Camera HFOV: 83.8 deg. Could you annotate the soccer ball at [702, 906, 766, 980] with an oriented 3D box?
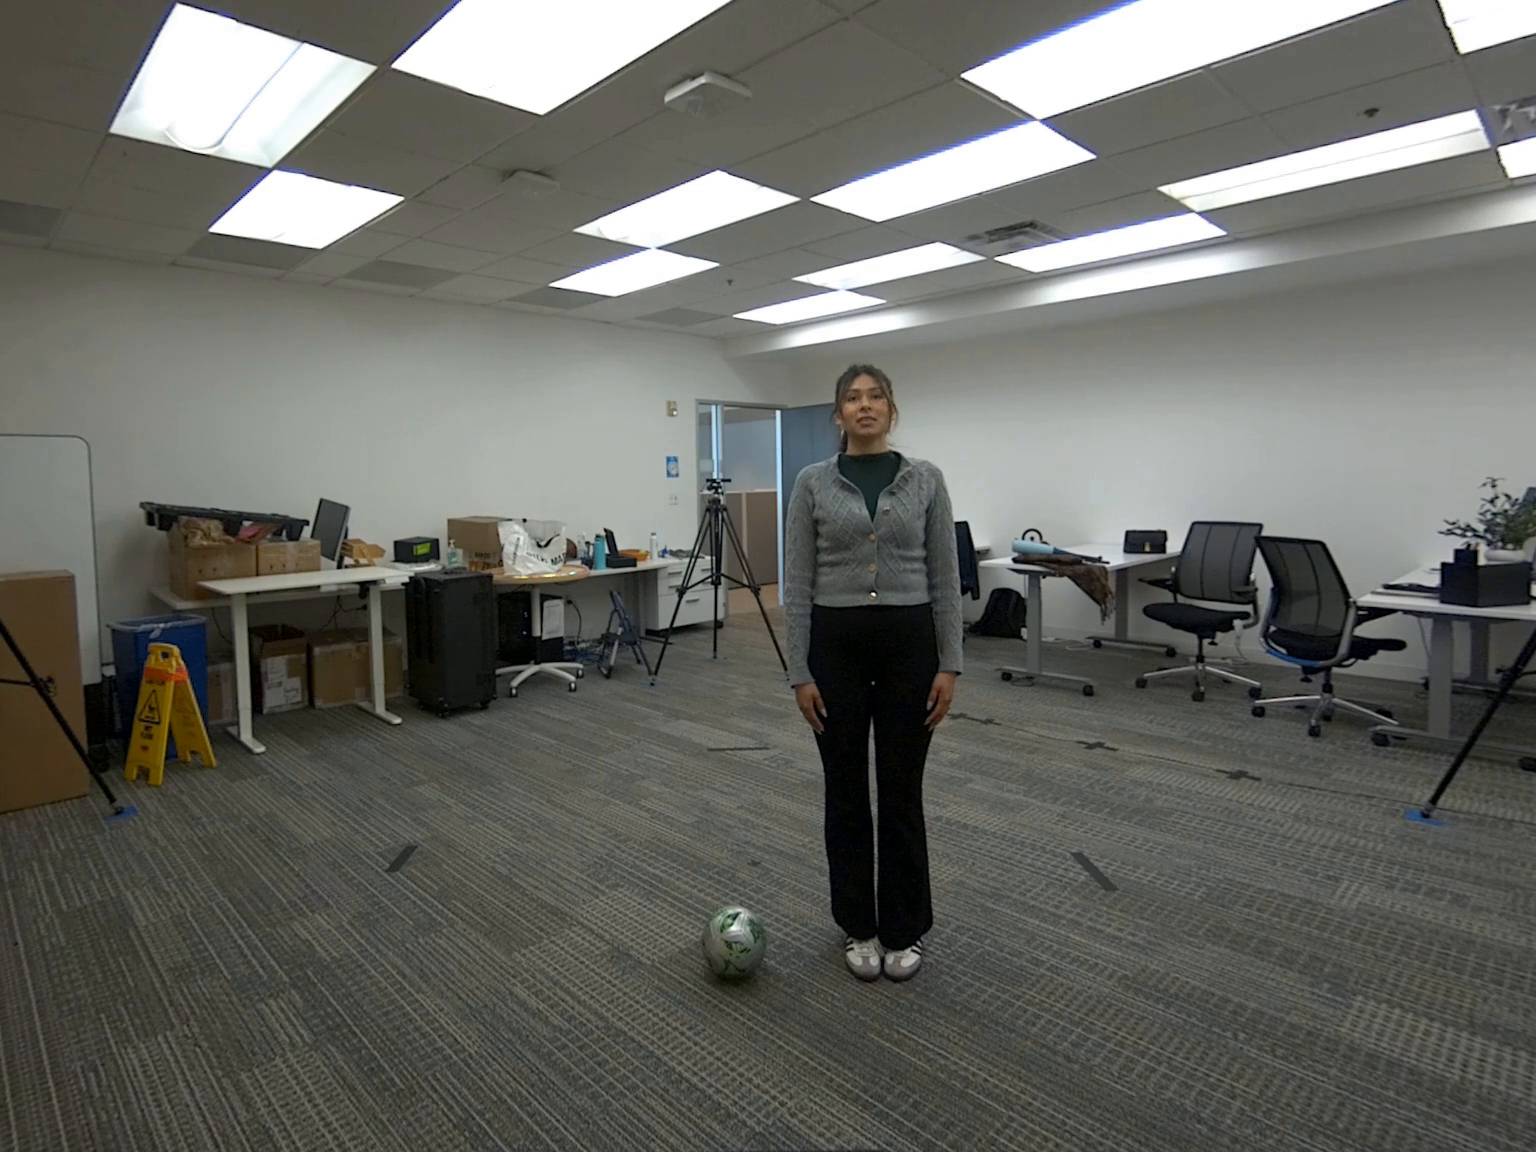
[{"bbox_3d":[-0.087,1.036,2.414,0.187,0.187,0.188,-1,5,-2],"label":"soccer ball"}]
